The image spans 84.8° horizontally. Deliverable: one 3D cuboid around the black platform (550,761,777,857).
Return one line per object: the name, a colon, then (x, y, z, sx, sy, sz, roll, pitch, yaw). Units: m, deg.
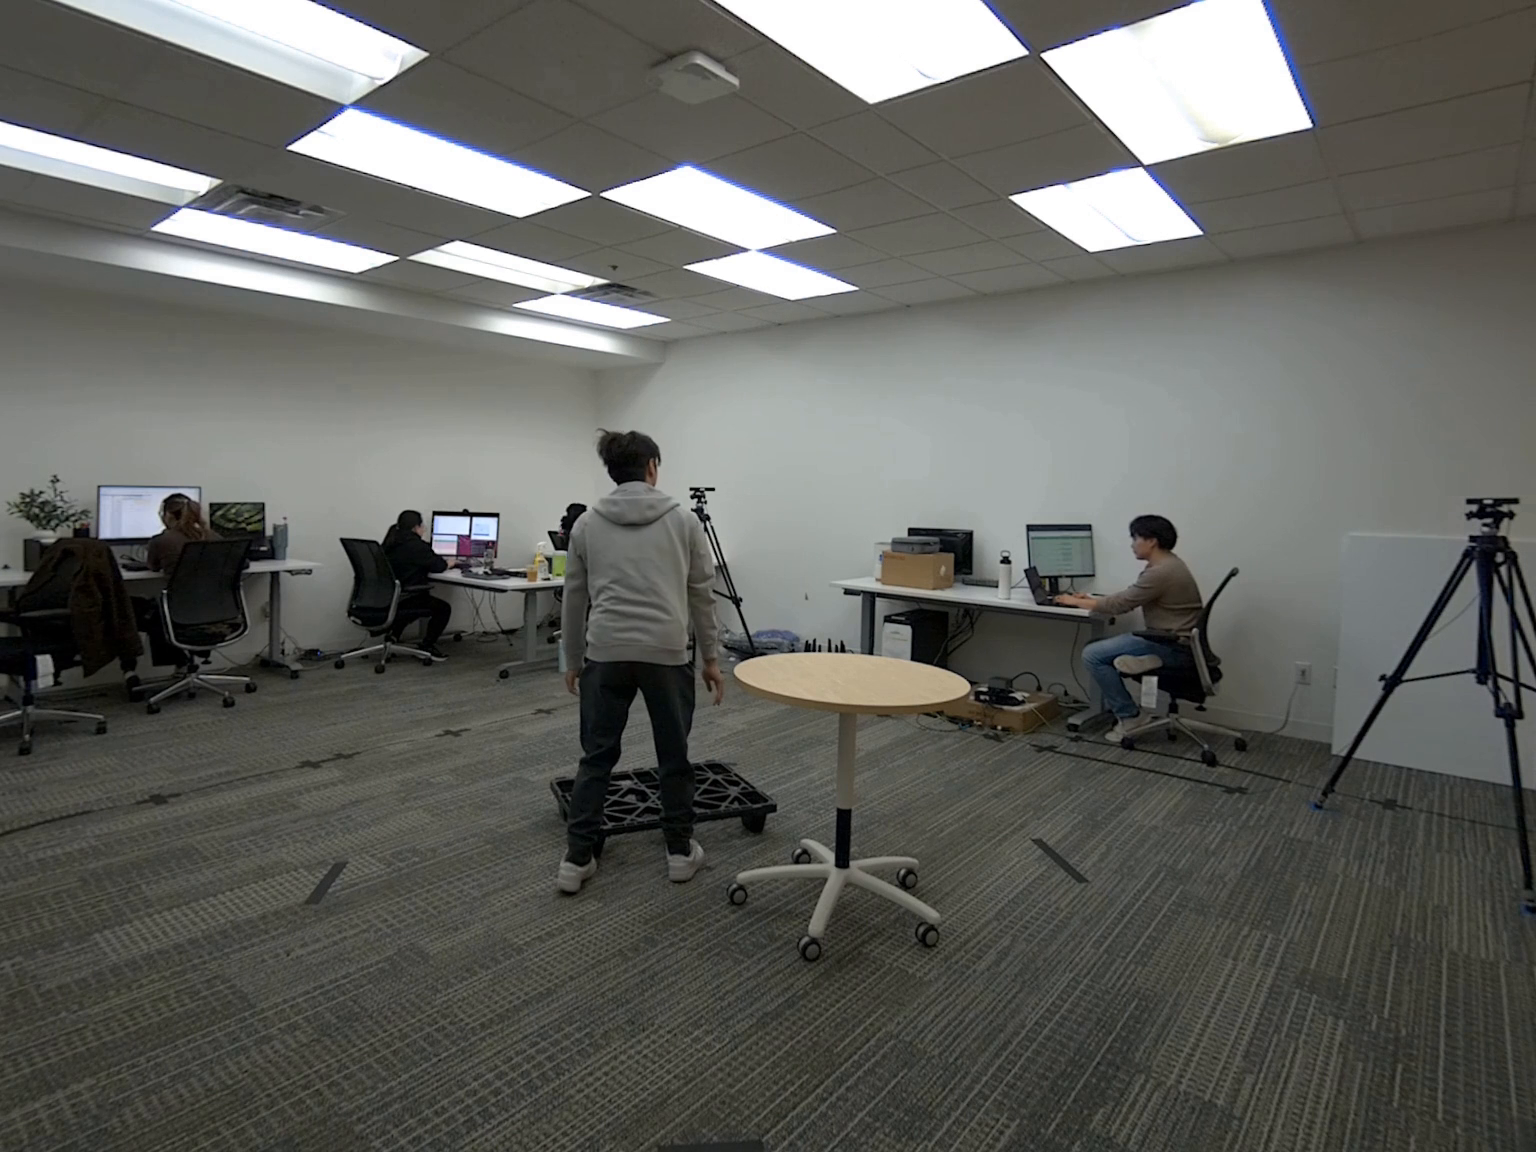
black platform: (-0.453, 0.954, 3.530, 0.787, 0.143, 0.622, -2, 7, -24)
